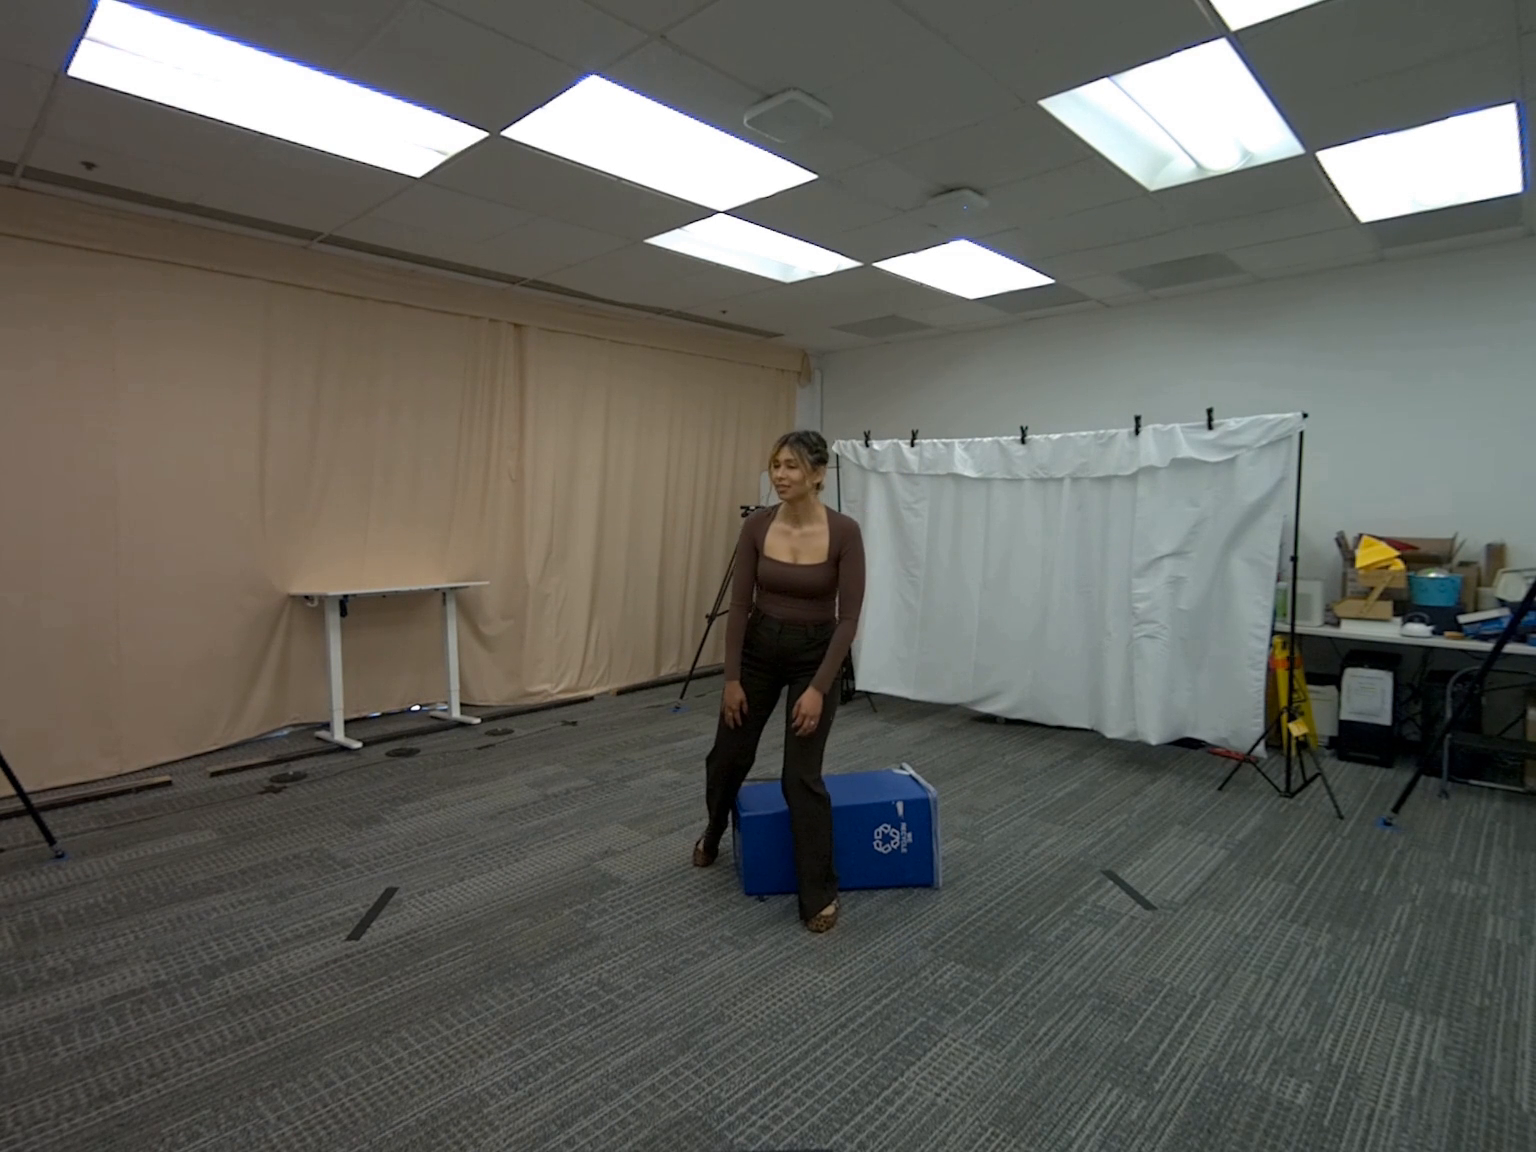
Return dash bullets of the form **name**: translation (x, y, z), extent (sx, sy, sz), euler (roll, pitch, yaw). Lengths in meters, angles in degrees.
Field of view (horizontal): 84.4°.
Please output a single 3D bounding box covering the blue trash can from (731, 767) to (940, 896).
- **blue trash can**: translation (0.250, 0.963, 3.168), extent (0.708, 0.377, 0.378), euler (-4, 5, -7)
